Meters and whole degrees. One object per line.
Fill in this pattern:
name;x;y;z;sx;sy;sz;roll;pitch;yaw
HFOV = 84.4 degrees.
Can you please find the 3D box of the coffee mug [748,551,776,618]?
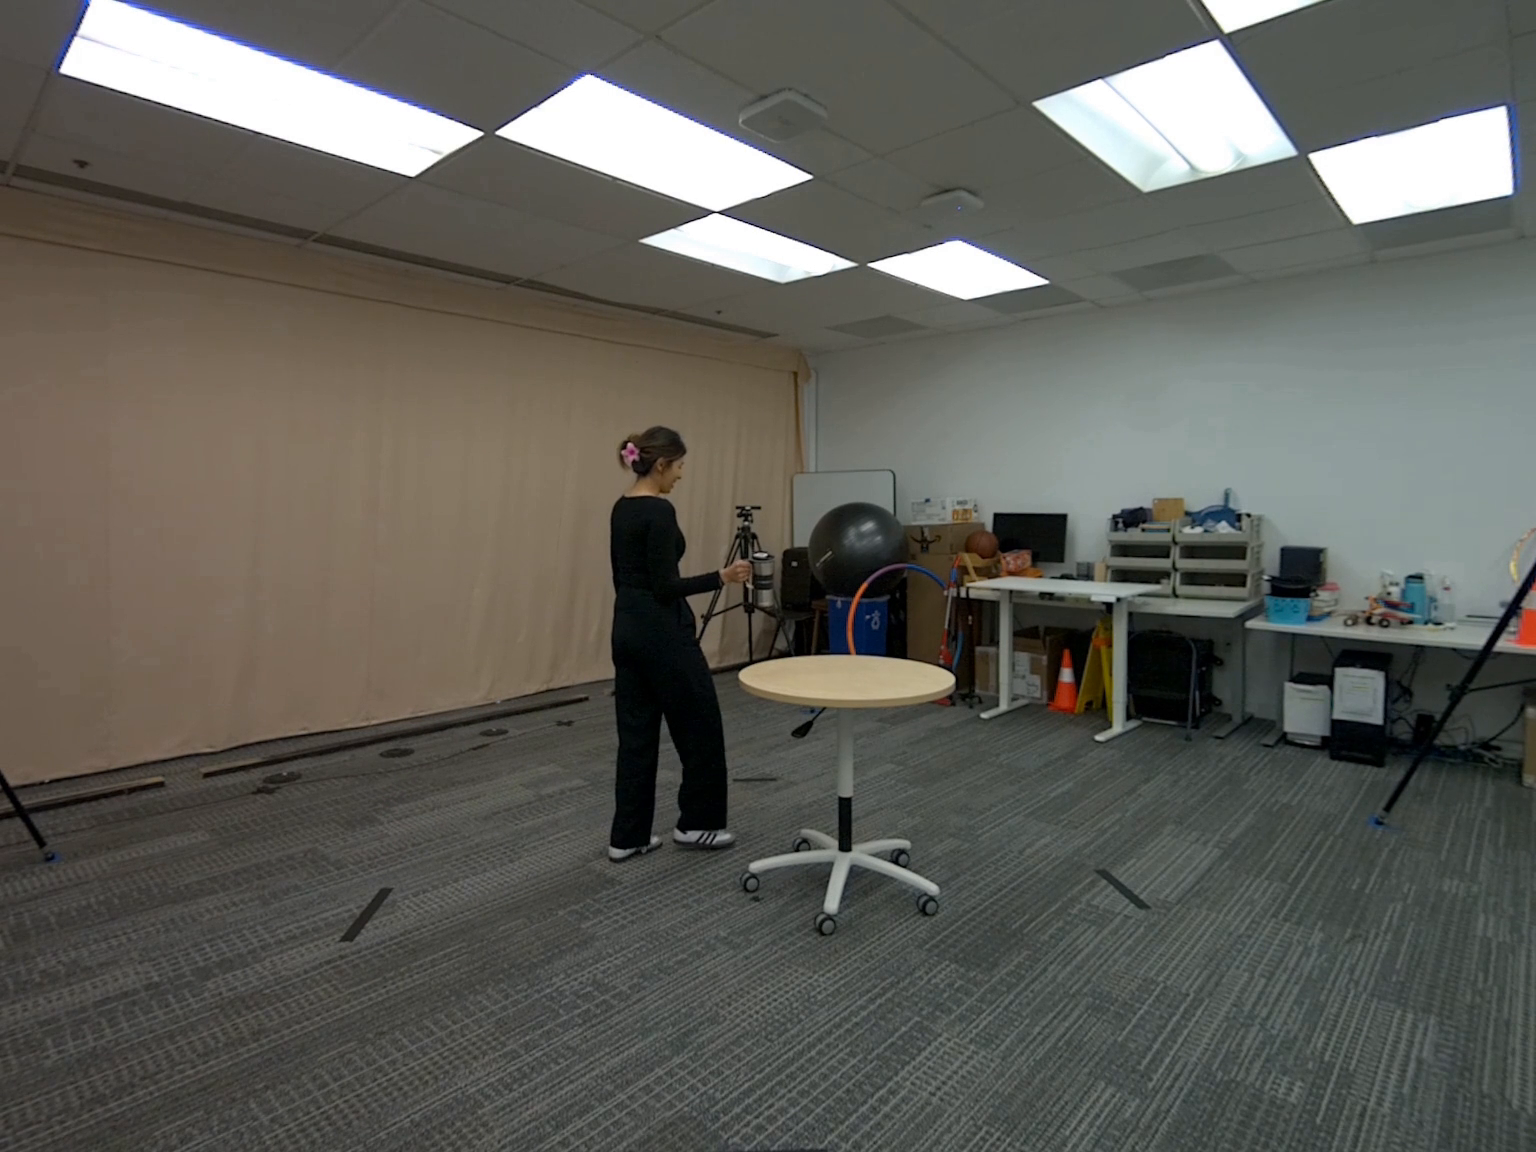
coffee mug;-0.030;0.016;3.123;0.126;0.201;0.086;10;17;34
